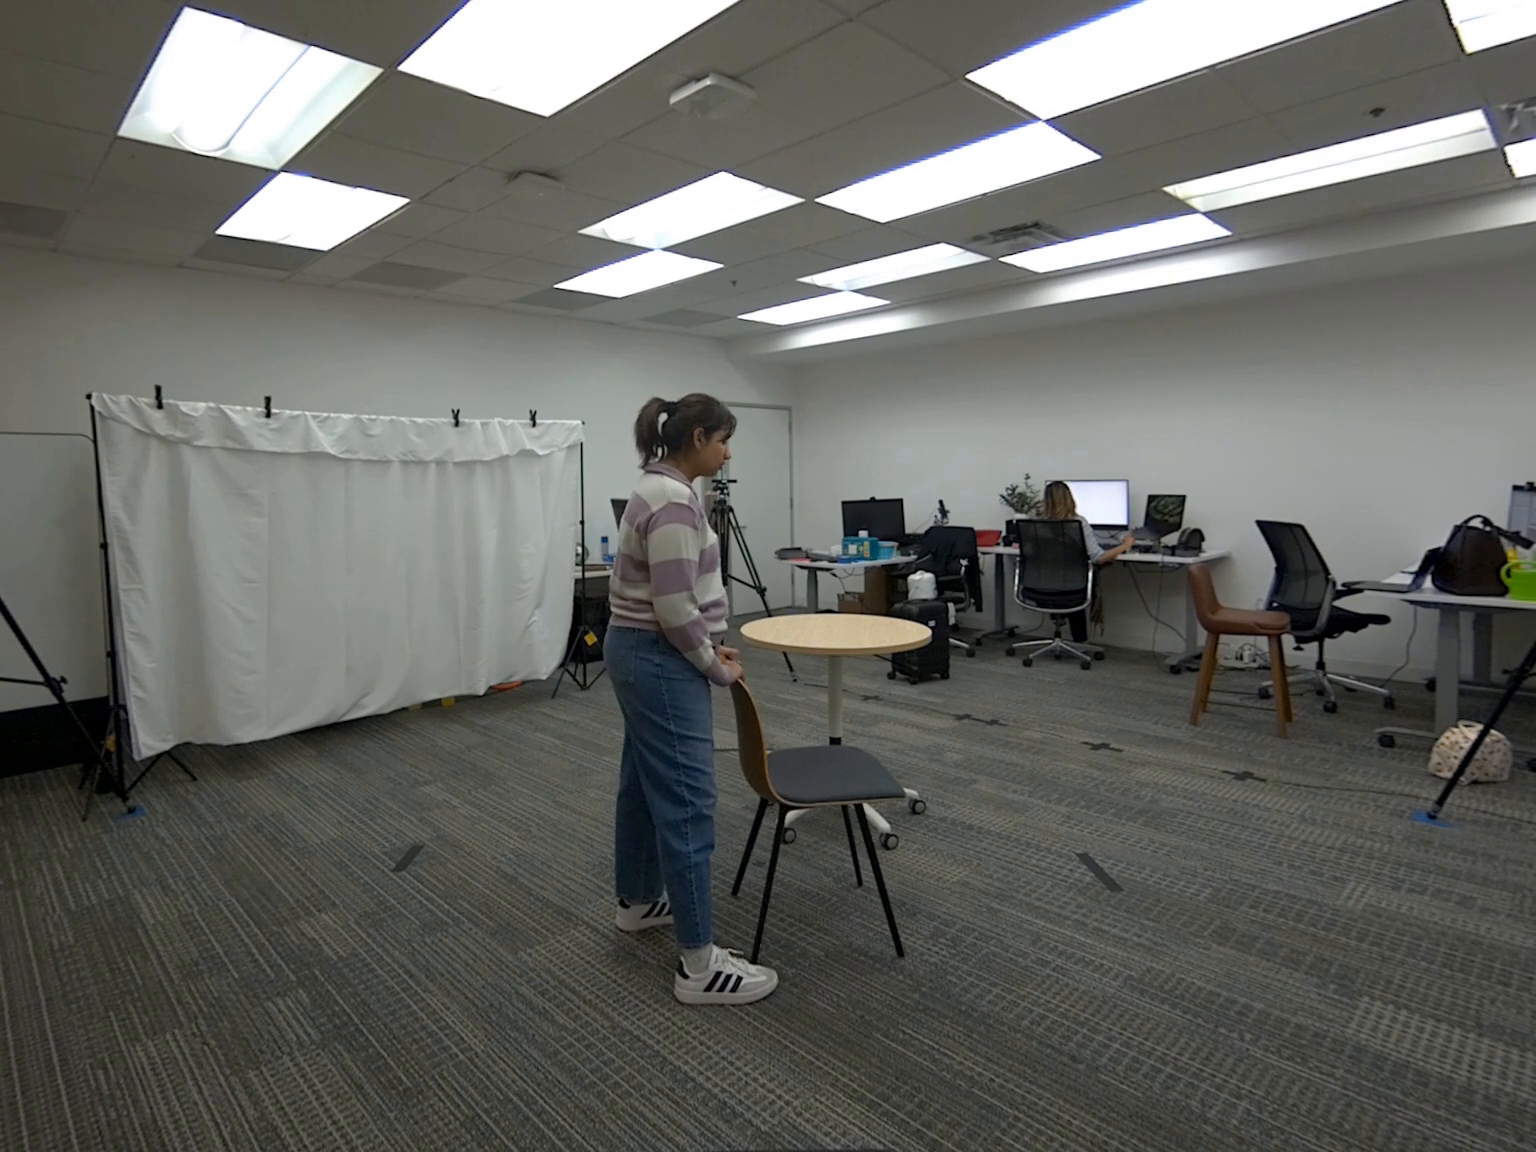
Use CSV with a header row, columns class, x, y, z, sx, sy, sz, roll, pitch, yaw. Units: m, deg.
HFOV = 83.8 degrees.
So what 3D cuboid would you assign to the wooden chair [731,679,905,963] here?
class,x,y,z,sx,sy,sz,roll,pitch,yaw
wooden chair,0.141,0.673,2.658,0.520,0.873,0.484,-5,5,-8
